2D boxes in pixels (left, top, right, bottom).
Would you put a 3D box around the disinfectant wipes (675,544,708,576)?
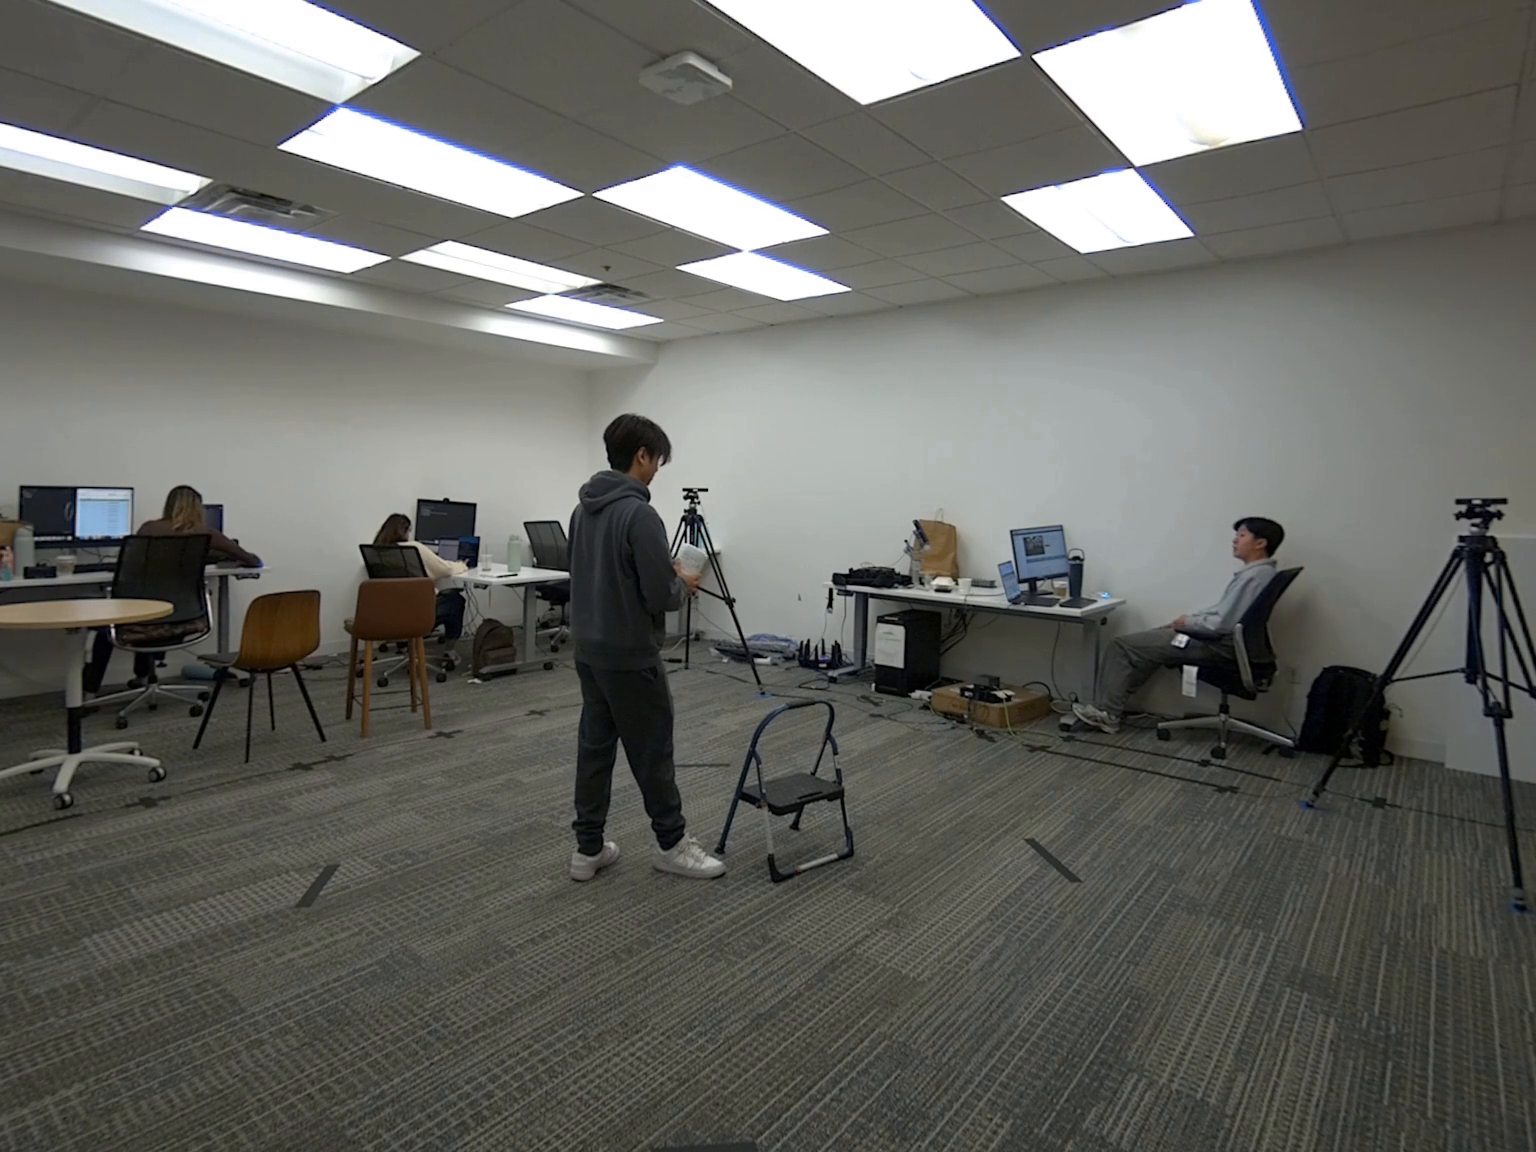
[{"bbox_3d":[-0.329,-0.008,3.217,0.118,0.218,0.116,28,-10,3],"label":"disinfectant wipes"}]
